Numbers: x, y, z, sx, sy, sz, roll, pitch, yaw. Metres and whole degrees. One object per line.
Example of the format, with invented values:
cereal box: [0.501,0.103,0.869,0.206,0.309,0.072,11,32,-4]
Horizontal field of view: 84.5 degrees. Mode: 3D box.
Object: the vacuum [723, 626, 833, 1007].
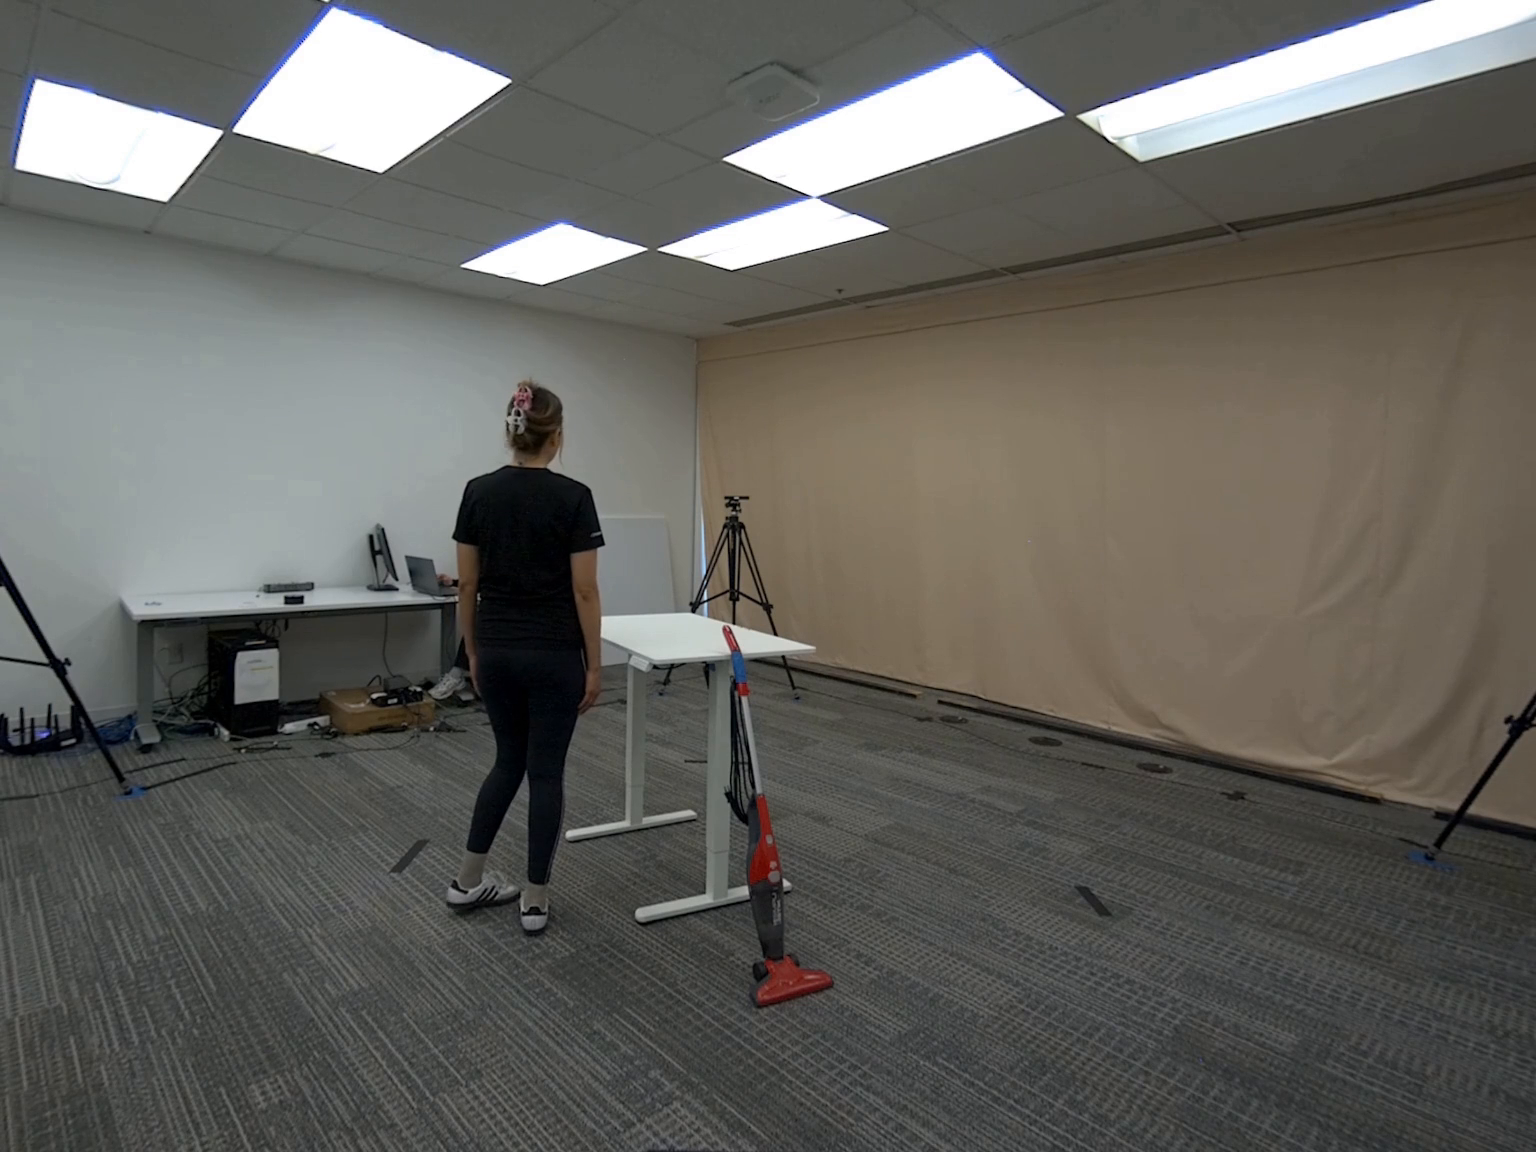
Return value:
vacuum: [-0.039,0.677,2.565,0.246,1.065,0.145,4,-22,-38]
